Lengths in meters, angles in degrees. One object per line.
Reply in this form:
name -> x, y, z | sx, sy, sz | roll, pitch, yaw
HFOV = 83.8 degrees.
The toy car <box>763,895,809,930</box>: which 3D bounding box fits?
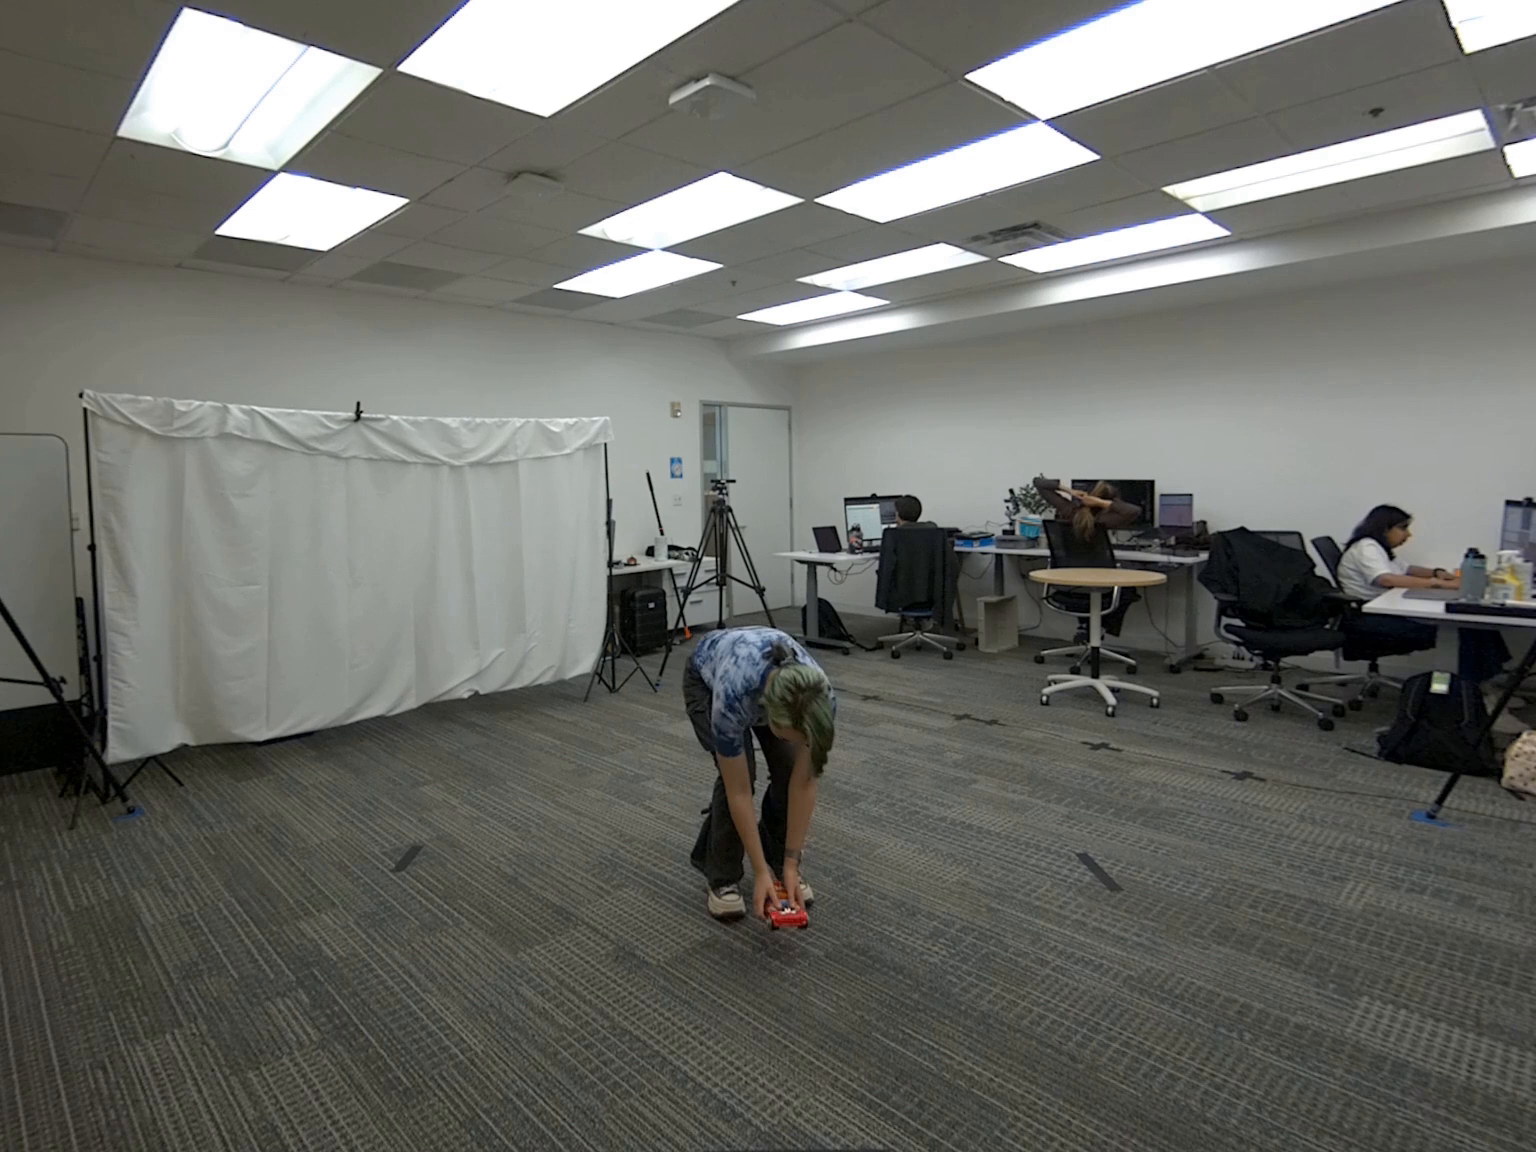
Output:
toy car -> 0.033, 0.984, 2.548 | 0.129, 0.083, 0.259 | 0, 7, -14
